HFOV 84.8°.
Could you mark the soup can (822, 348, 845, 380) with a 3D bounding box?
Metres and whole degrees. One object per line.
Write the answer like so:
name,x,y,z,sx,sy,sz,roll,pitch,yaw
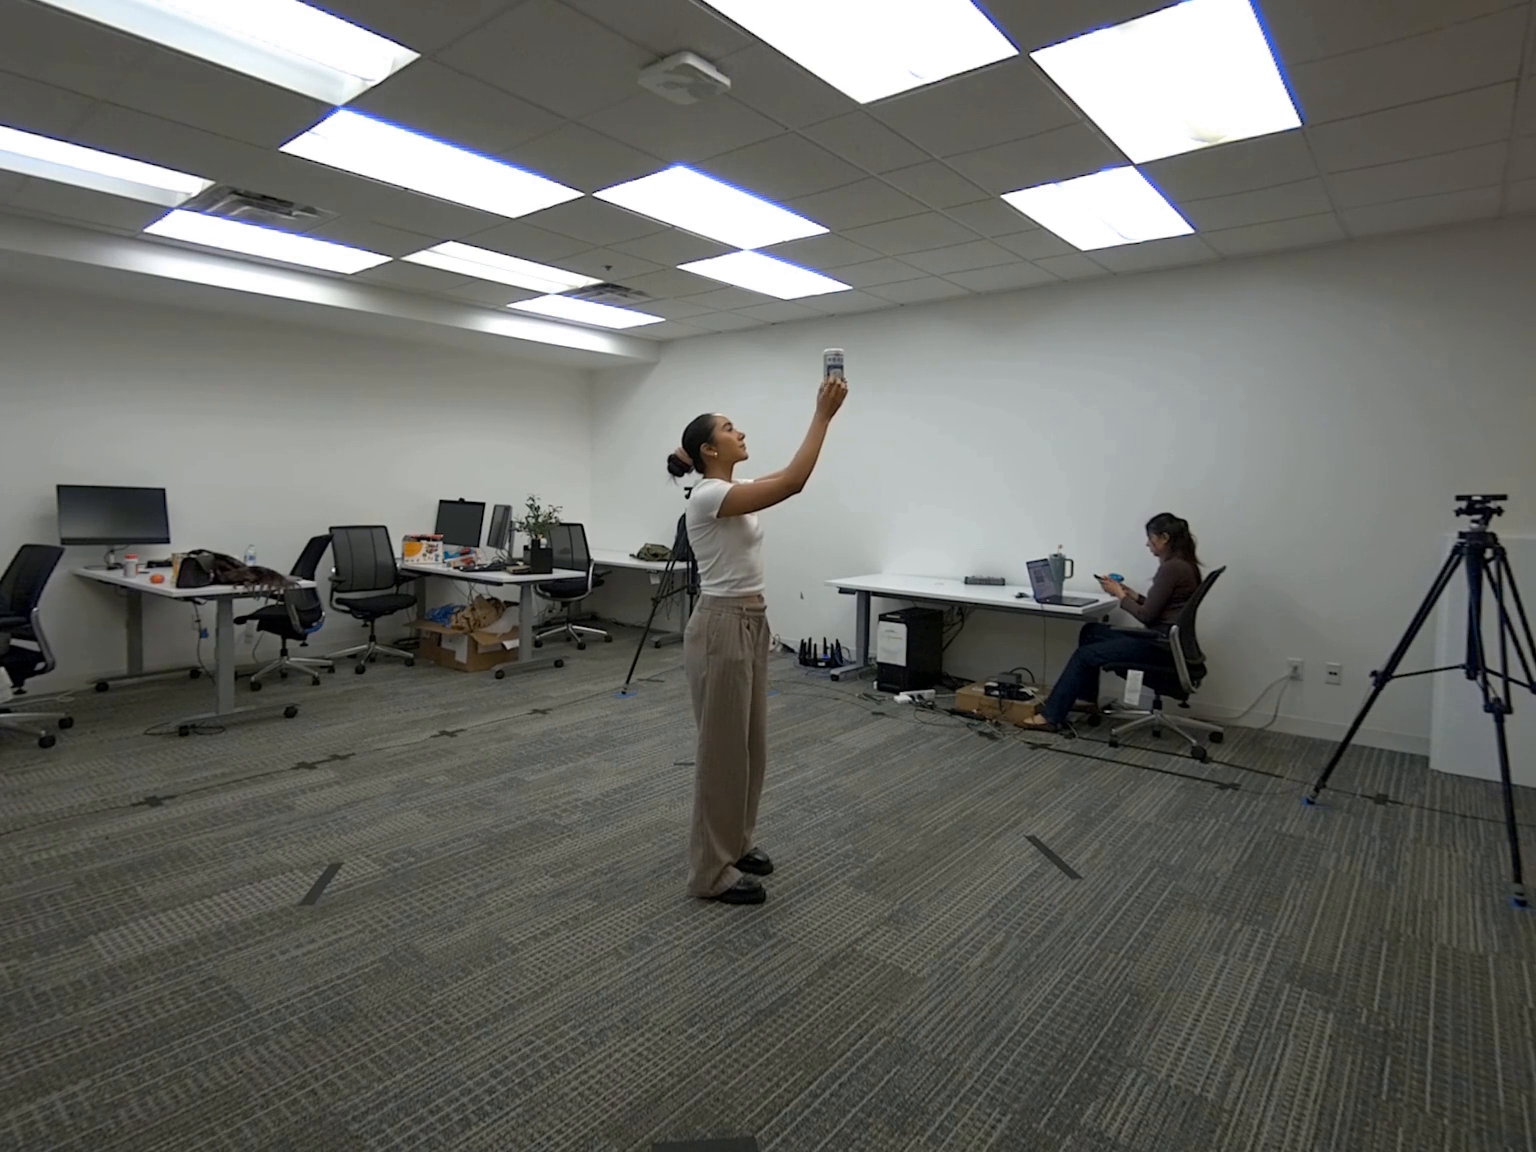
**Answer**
soup can,0.207,-0.691,2.809,0.067,0.121,0.067,1,3,-2
